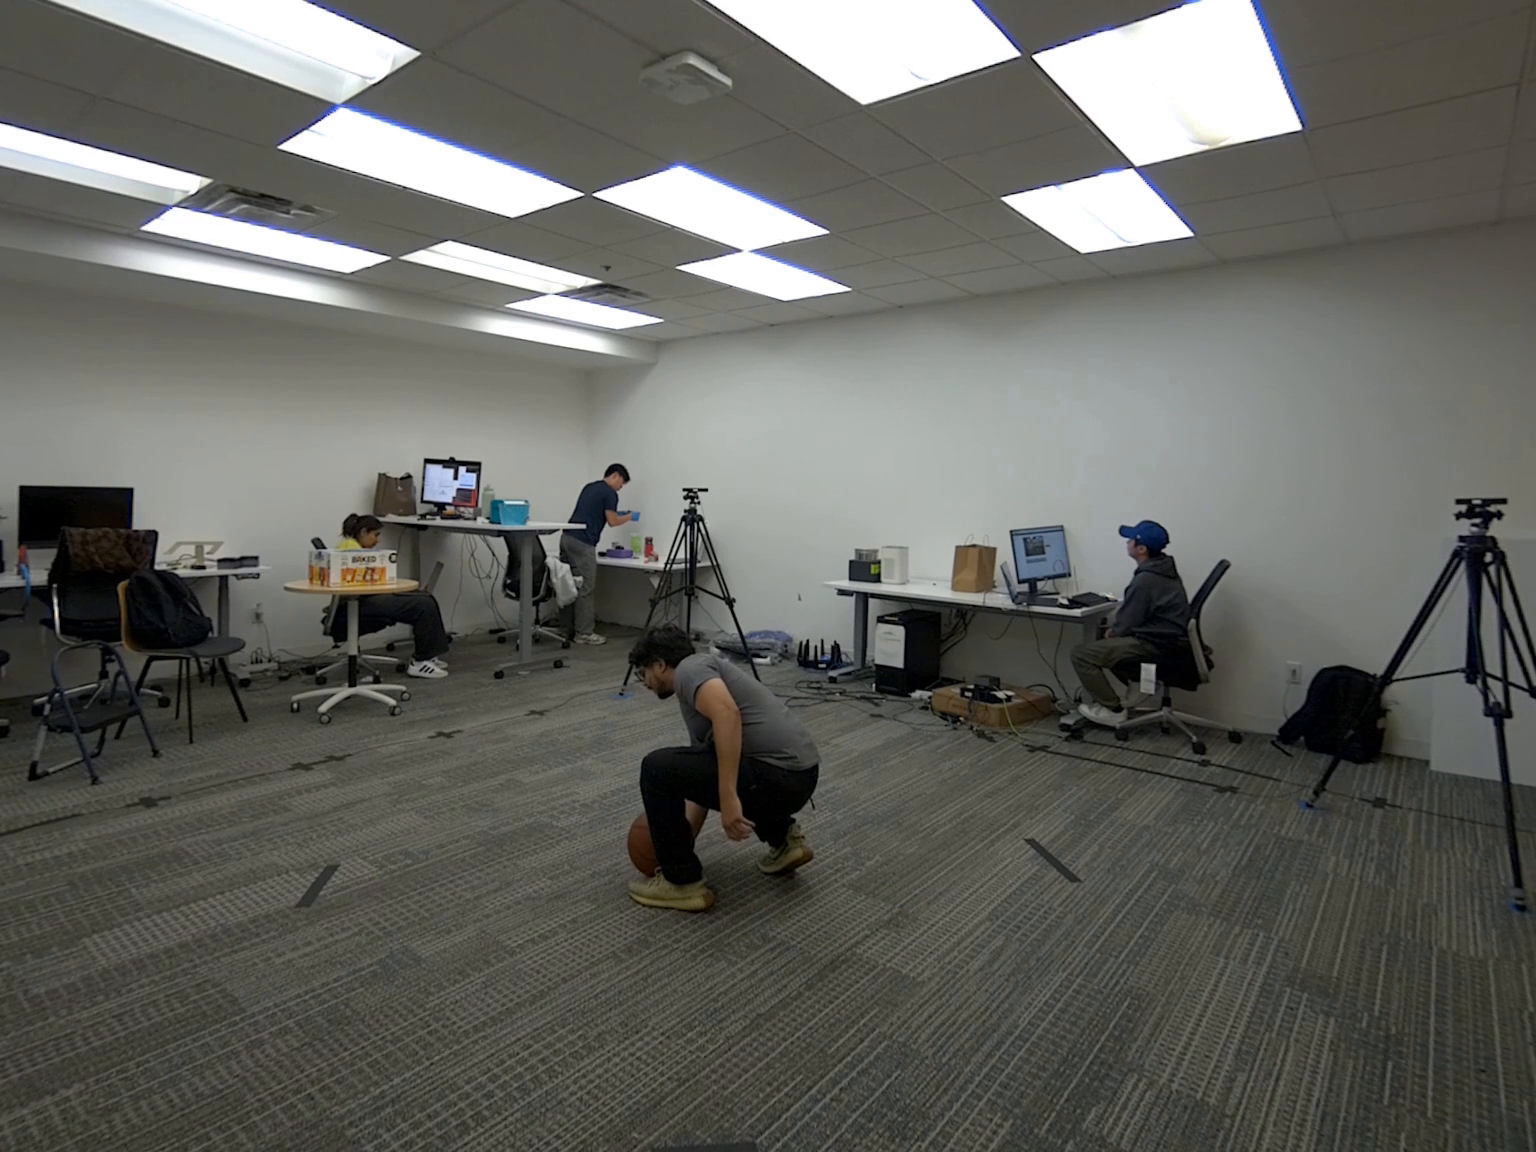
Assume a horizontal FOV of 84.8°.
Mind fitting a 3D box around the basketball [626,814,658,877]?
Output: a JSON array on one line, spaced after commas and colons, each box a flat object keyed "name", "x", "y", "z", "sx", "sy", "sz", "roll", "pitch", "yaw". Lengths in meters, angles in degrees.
[{"name": "basketball", "x": -0.384, "y": 0.932, "z": 3.009, "sx": 0.235, "sy": 0.235, "sz": 0.237, "roll": 1, "pitch": 4, "yaw": -2}]
